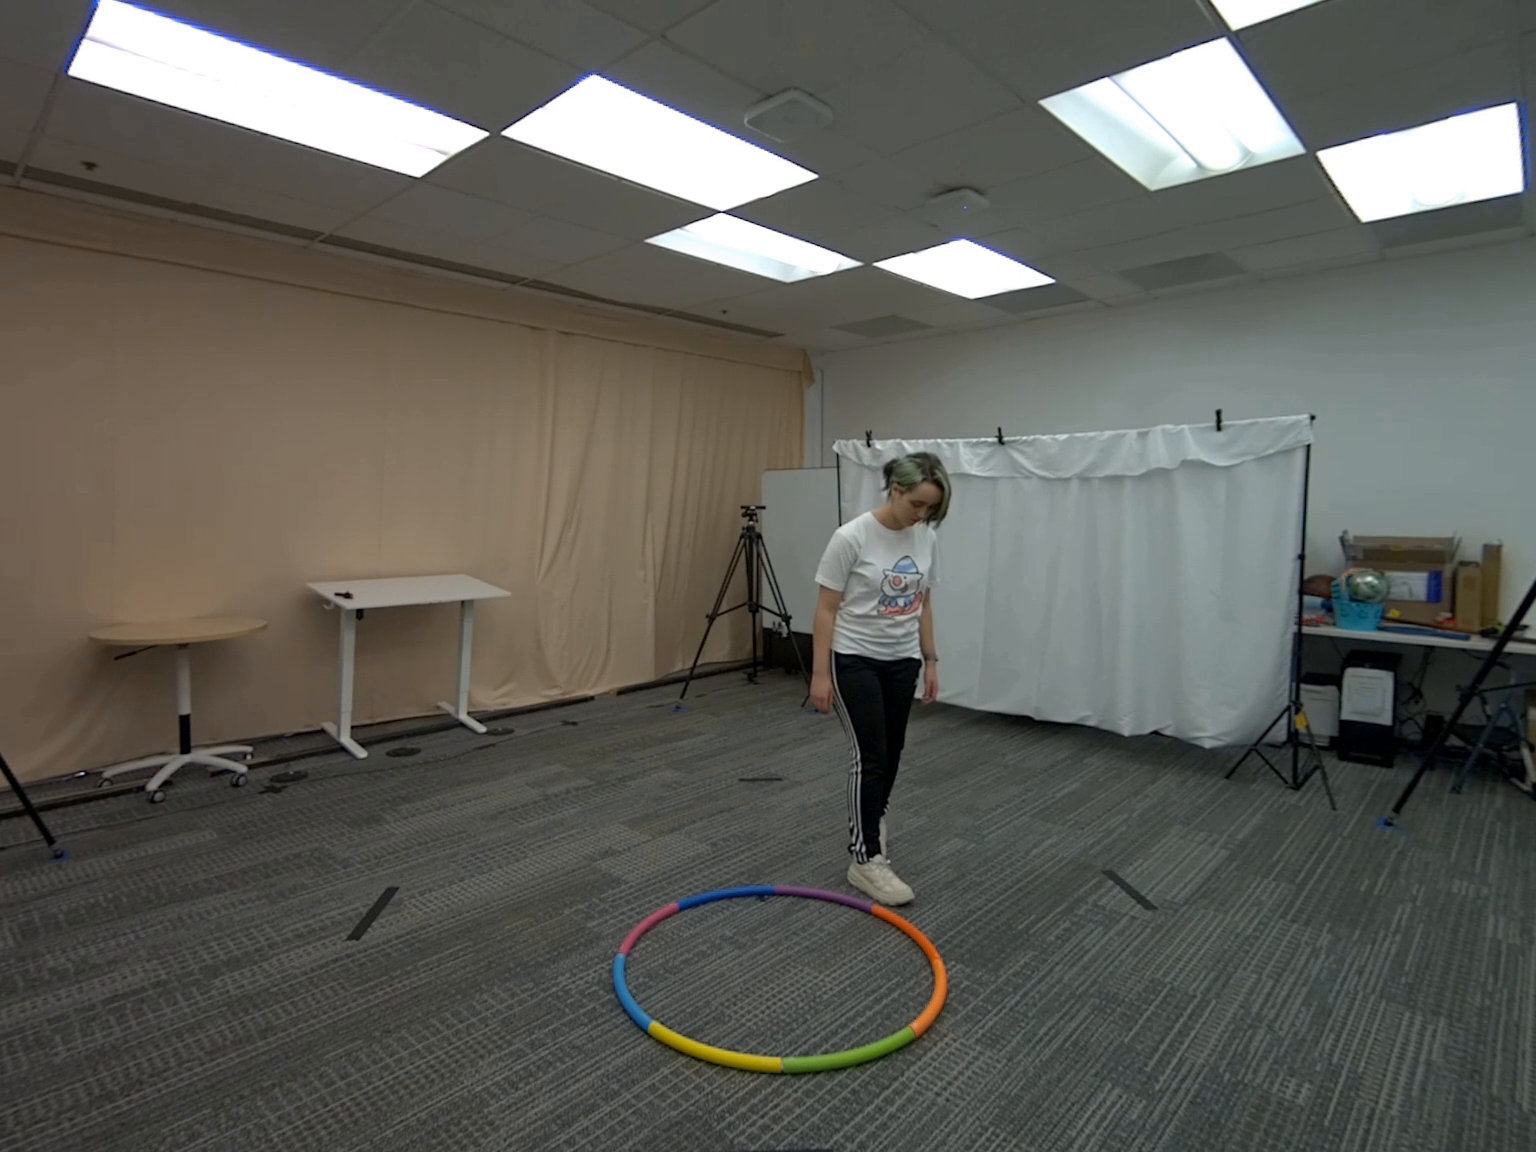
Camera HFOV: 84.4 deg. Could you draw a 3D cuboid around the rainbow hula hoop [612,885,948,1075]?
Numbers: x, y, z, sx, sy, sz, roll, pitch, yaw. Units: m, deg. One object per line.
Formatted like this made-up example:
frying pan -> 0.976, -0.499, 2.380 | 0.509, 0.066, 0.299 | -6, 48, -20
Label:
rainbow hula hoop -> 0.030, 1.151, 2.547 | 0.978, 0.035, 0.982 | 0, 5, -2
